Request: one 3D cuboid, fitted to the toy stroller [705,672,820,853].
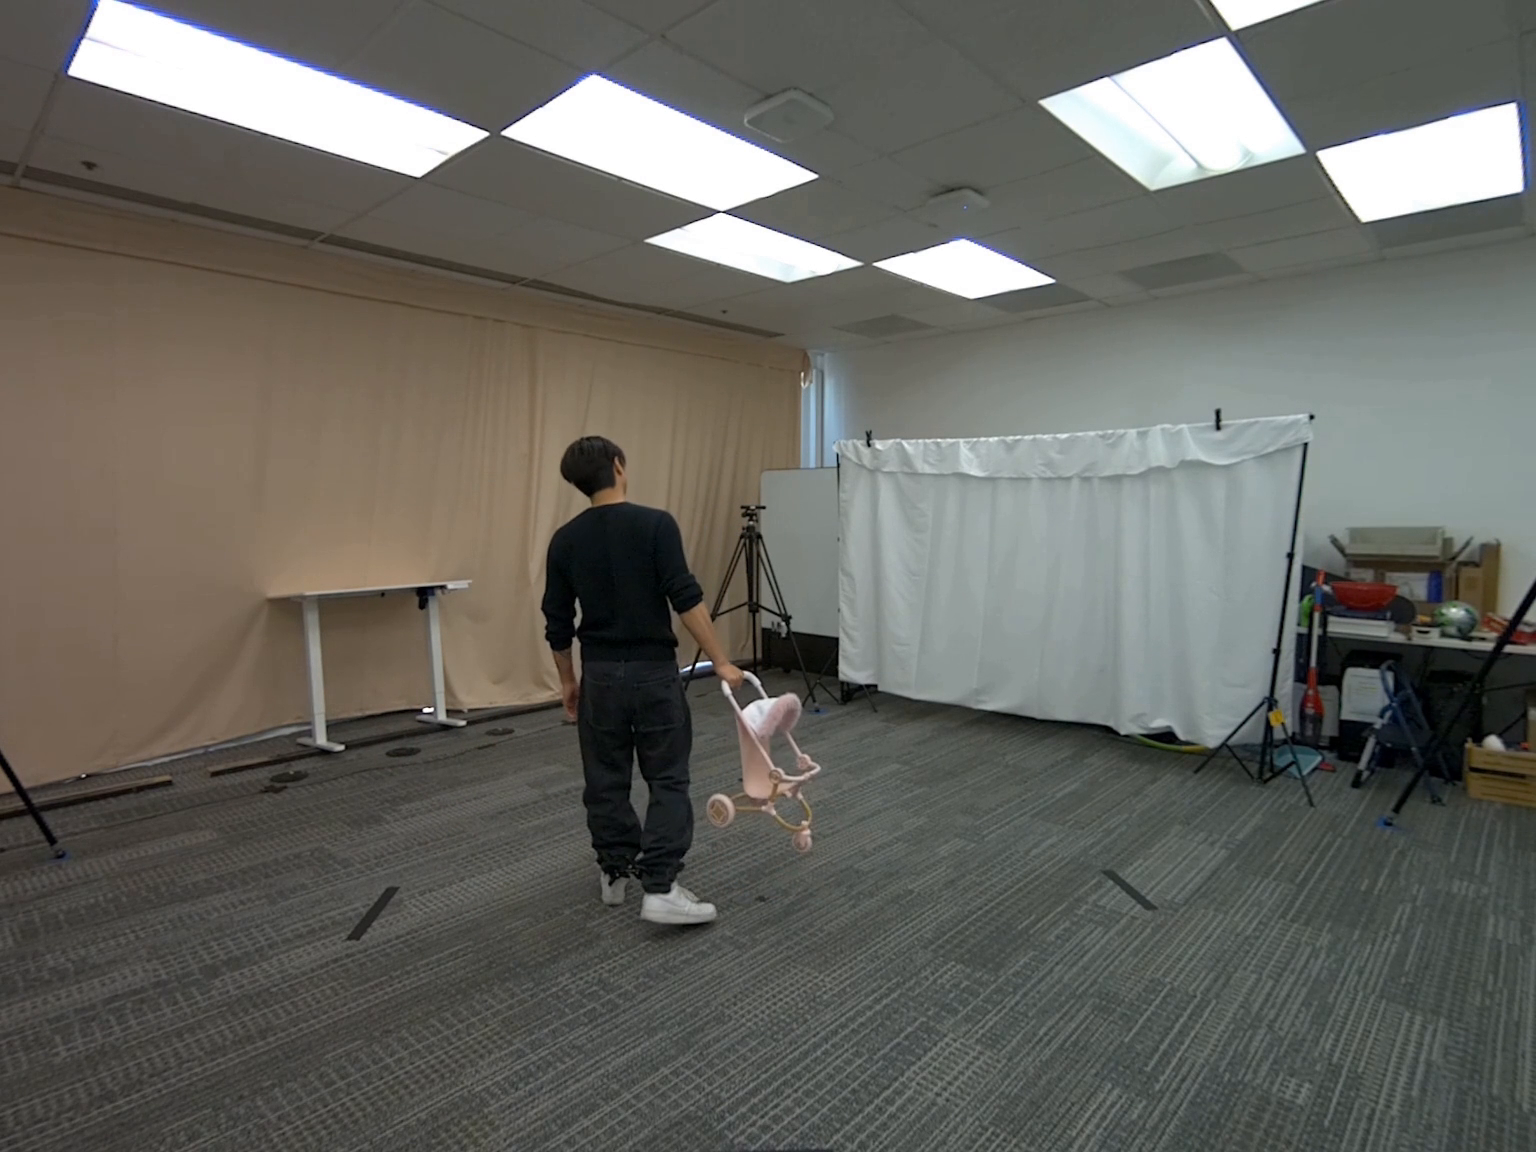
[{"bbox_3d":[0.010,0.622,2.763,0.352,0.534,0.273,5,3,36],"label":"toy stroller"}]
